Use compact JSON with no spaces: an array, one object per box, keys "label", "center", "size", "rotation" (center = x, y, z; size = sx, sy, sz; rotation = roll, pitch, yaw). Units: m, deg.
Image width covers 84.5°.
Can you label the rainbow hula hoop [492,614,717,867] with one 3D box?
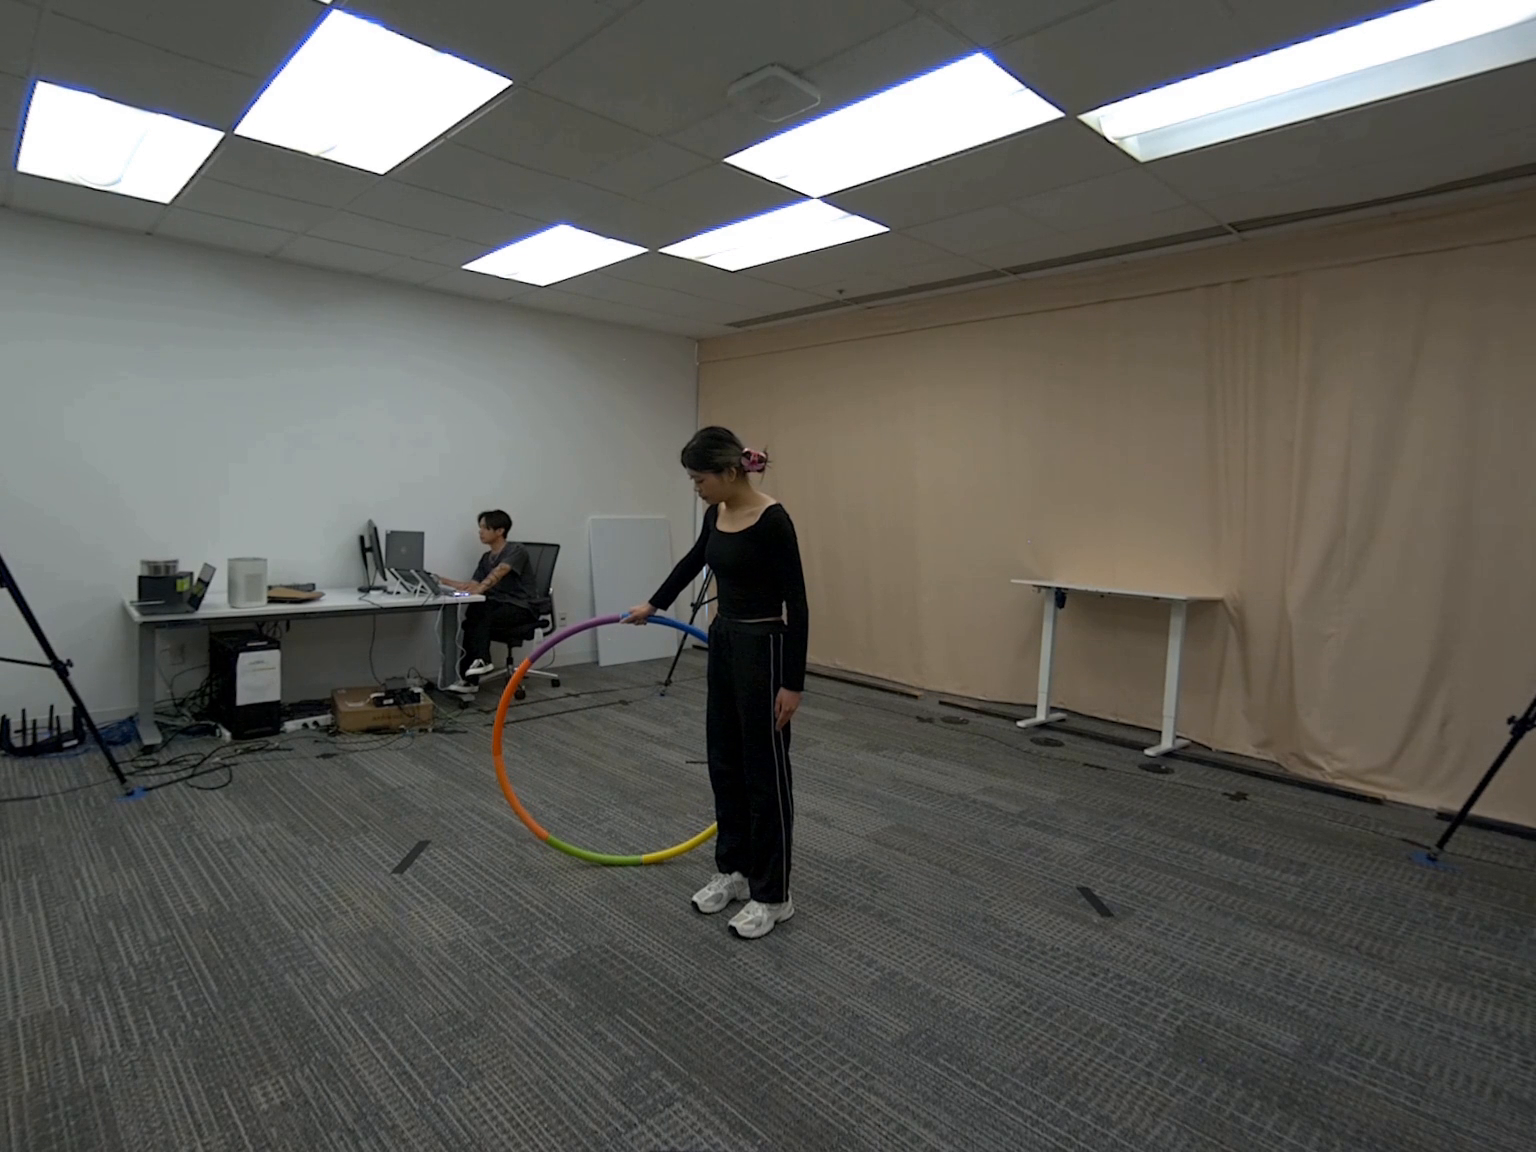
[{"label":"rainbow hula hoop","center":[-0.513,0.614,3.156],"size":[0.972,0.976,0.036],"rotation":[1,3,-8]}]
